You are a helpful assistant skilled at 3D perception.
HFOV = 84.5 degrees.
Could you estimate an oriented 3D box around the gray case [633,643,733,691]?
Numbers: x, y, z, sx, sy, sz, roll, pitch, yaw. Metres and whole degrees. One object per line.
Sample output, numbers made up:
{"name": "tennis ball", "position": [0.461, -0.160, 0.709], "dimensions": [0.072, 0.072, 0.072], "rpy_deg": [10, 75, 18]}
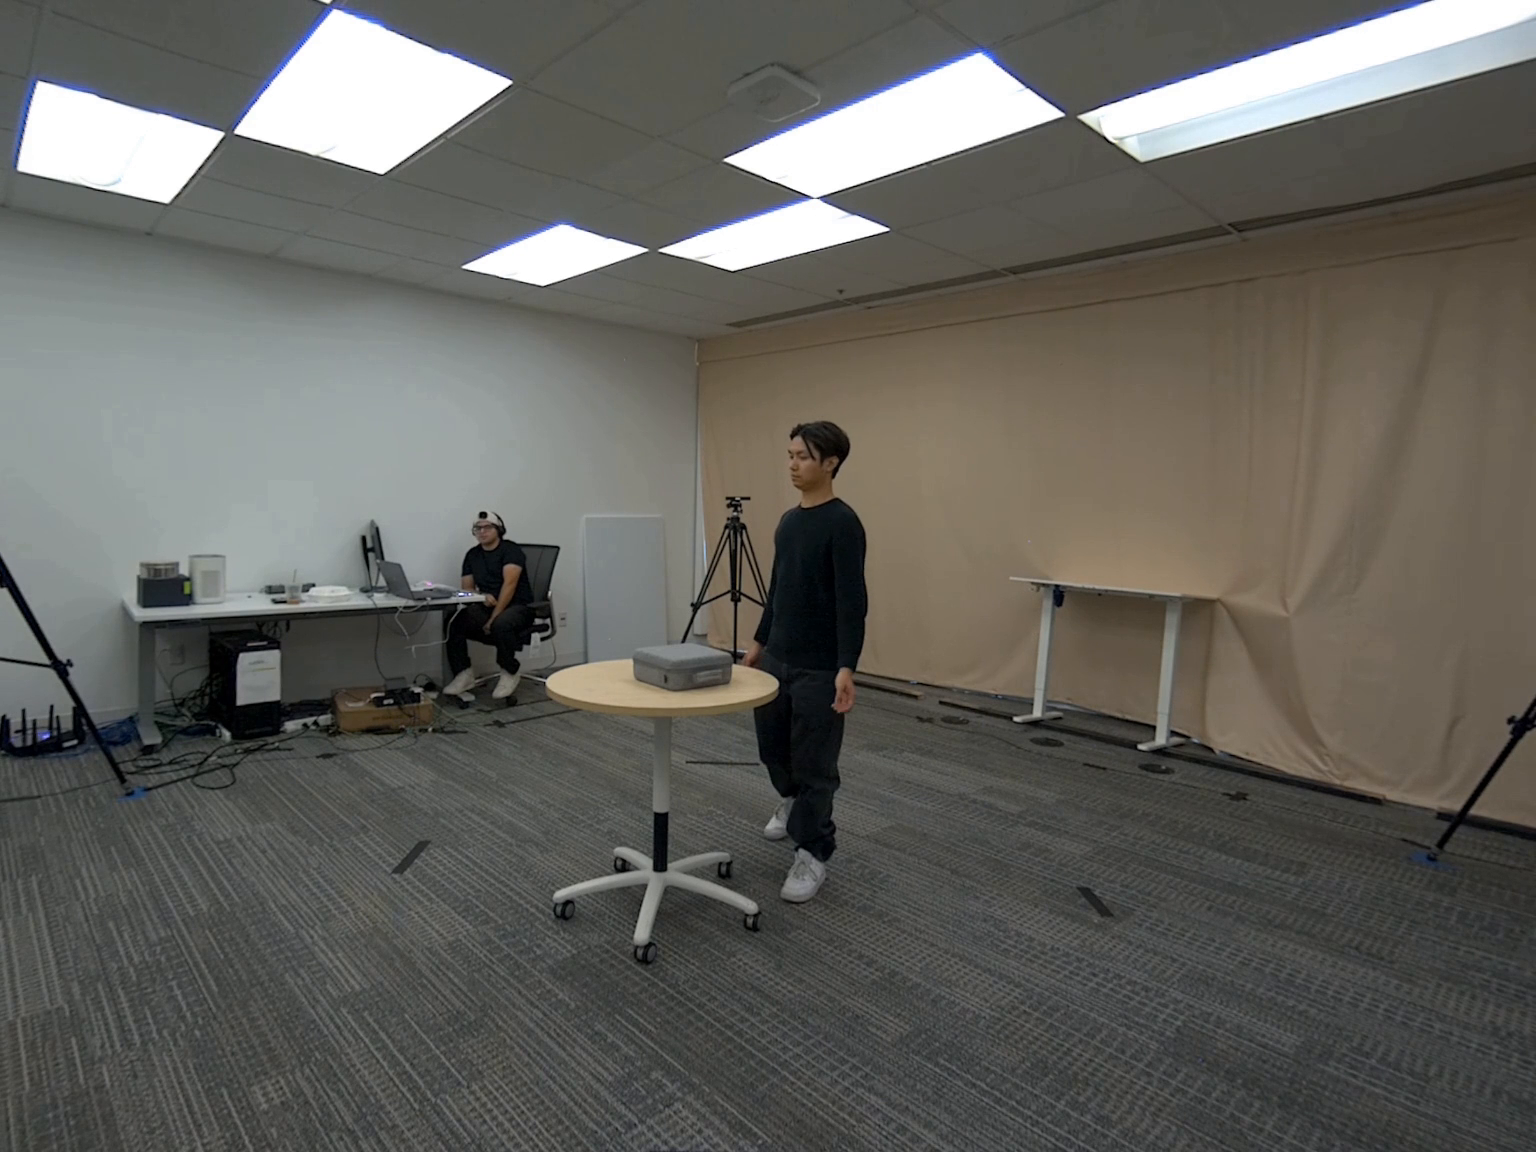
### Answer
{"name": "gray case", "position": [-0.283, 0.296, 2.775], "dimensions": [0.251, 0.104, 0.267], "rpy_deg": [-2, 6, -42]}
